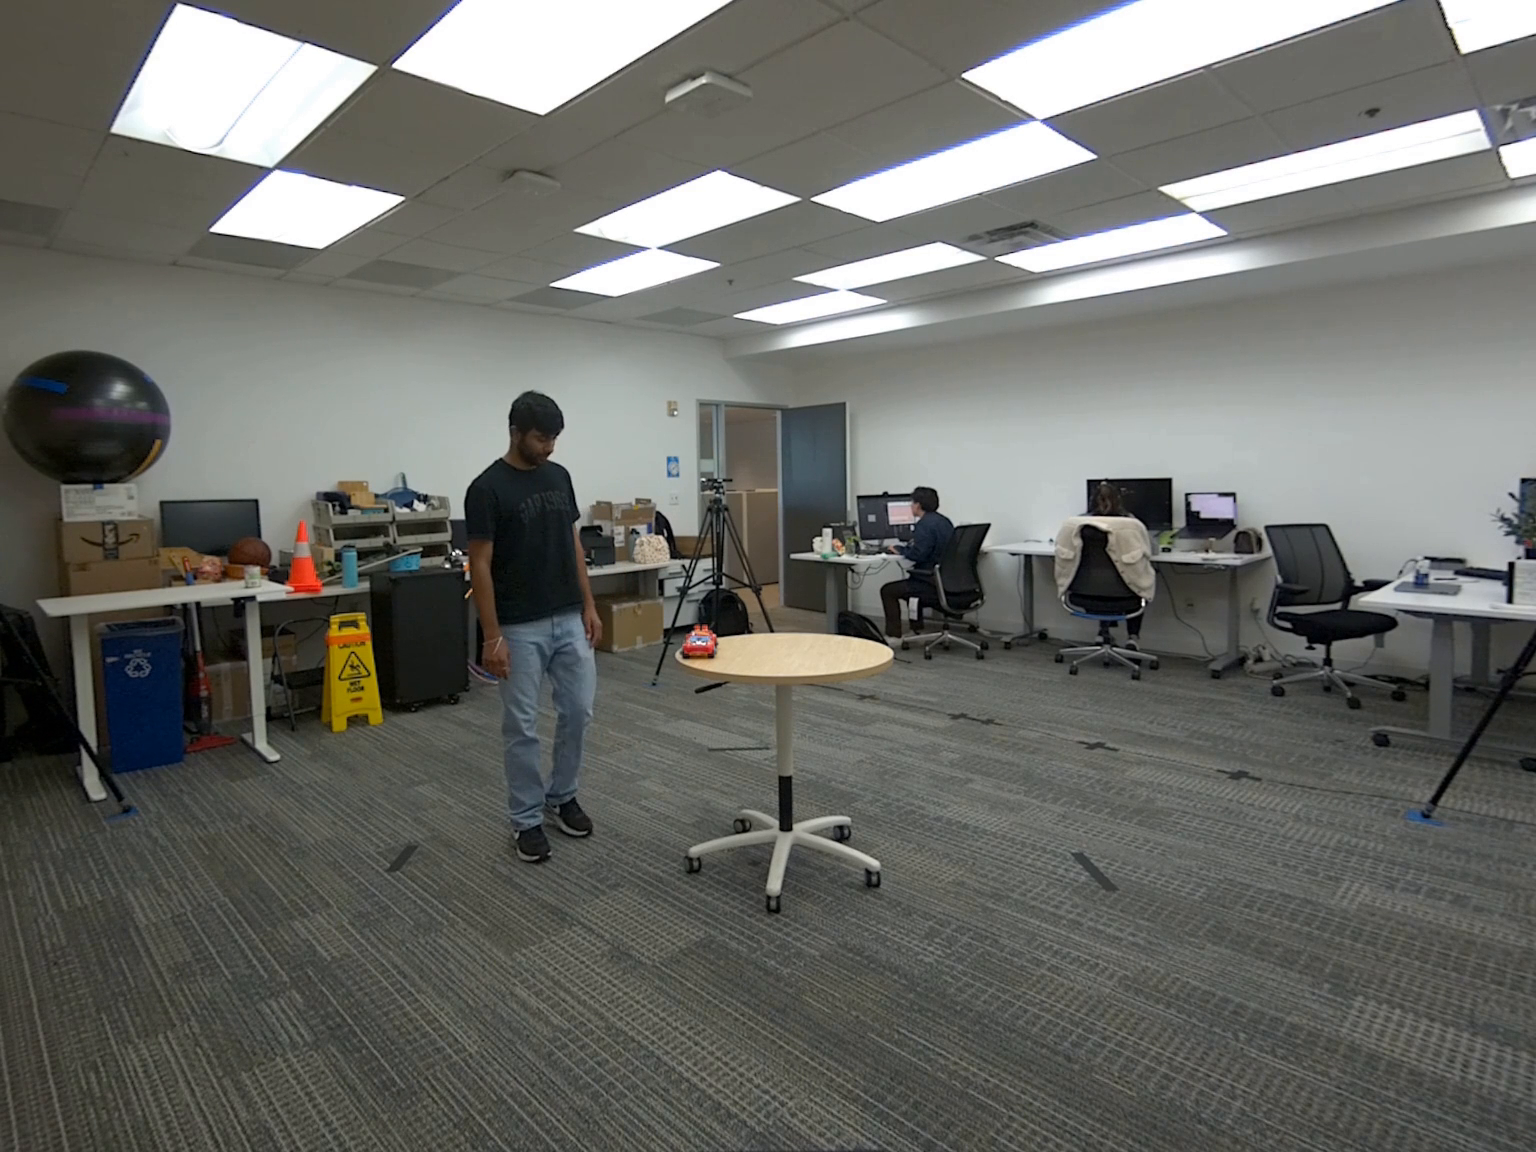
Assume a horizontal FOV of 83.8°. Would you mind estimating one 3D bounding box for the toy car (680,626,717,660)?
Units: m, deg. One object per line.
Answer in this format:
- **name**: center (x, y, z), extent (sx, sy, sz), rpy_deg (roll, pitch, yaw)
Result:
- **toy car**: center (-0.238, 0.244, 3.039), extent (0.130, 0.082, 0.258), rpy_deg (0, 16, 0)
